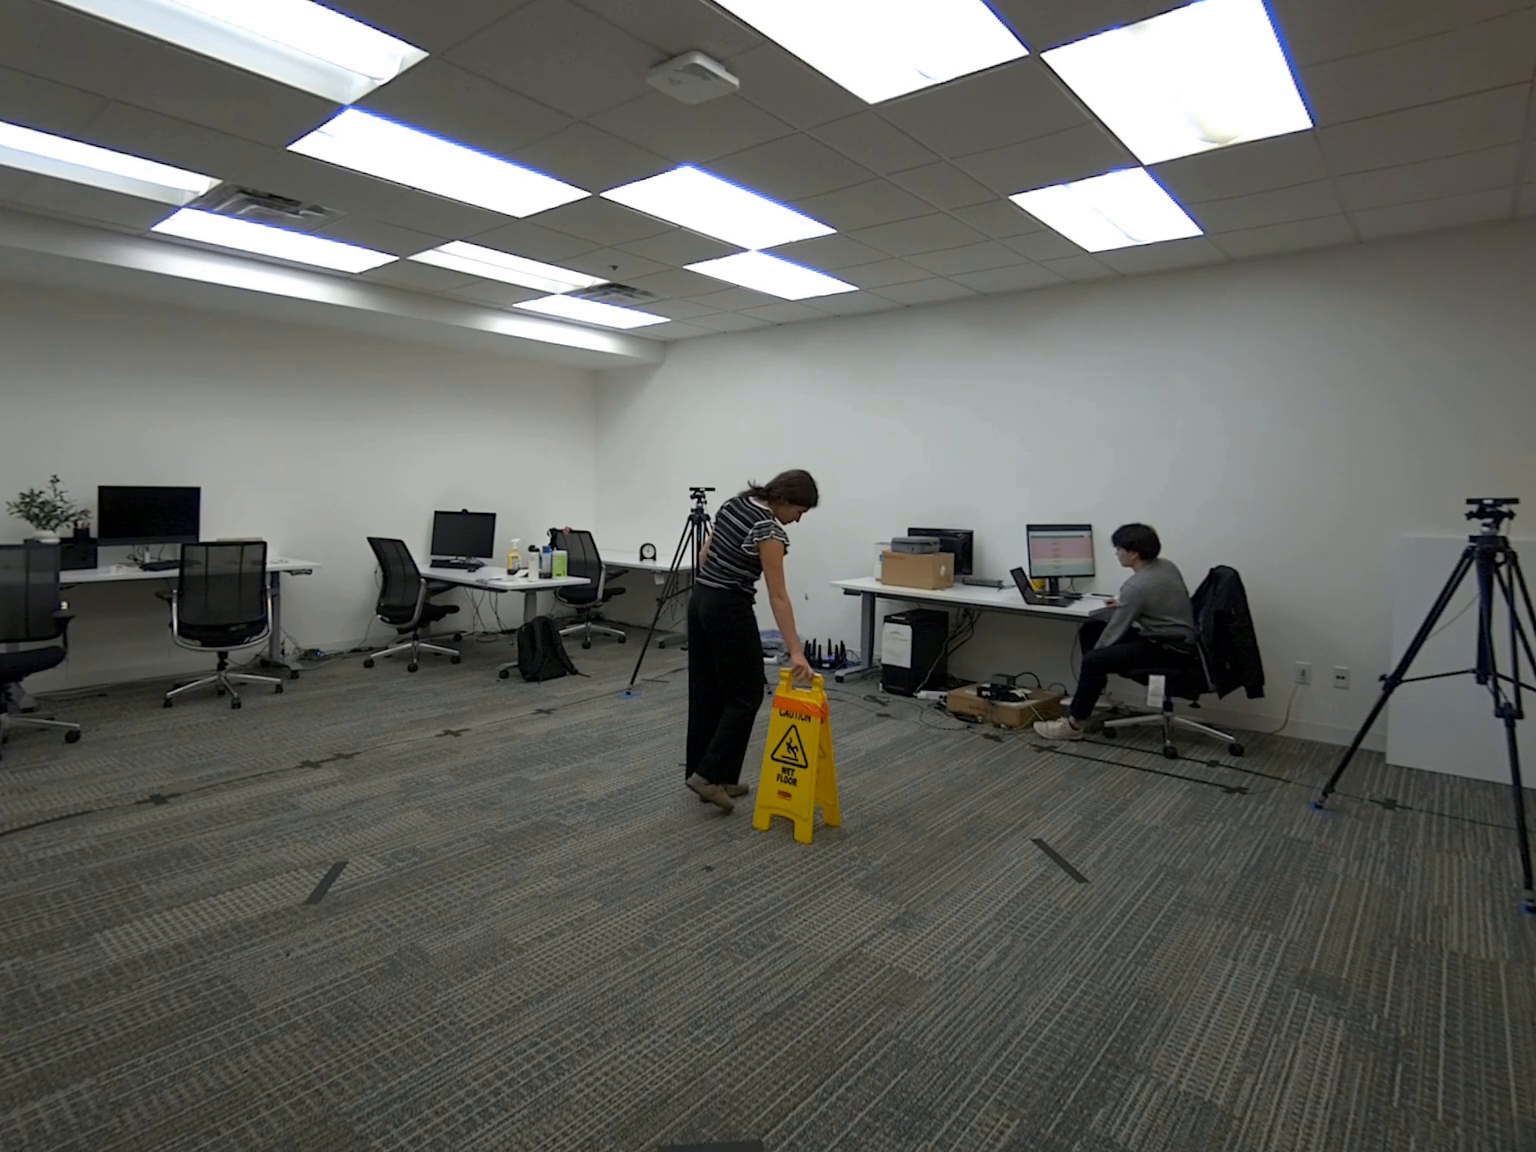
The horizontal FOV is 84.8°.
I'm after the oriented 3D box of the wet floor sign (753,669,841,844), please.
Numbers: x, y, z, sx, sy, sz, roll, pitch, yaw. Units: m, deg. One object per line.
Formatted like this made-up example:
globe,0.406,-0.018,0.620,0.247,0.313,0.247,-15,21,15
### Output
wet floor sign,0.120,0.710,3.511,0.291,0.644,0.281,4,3,35
